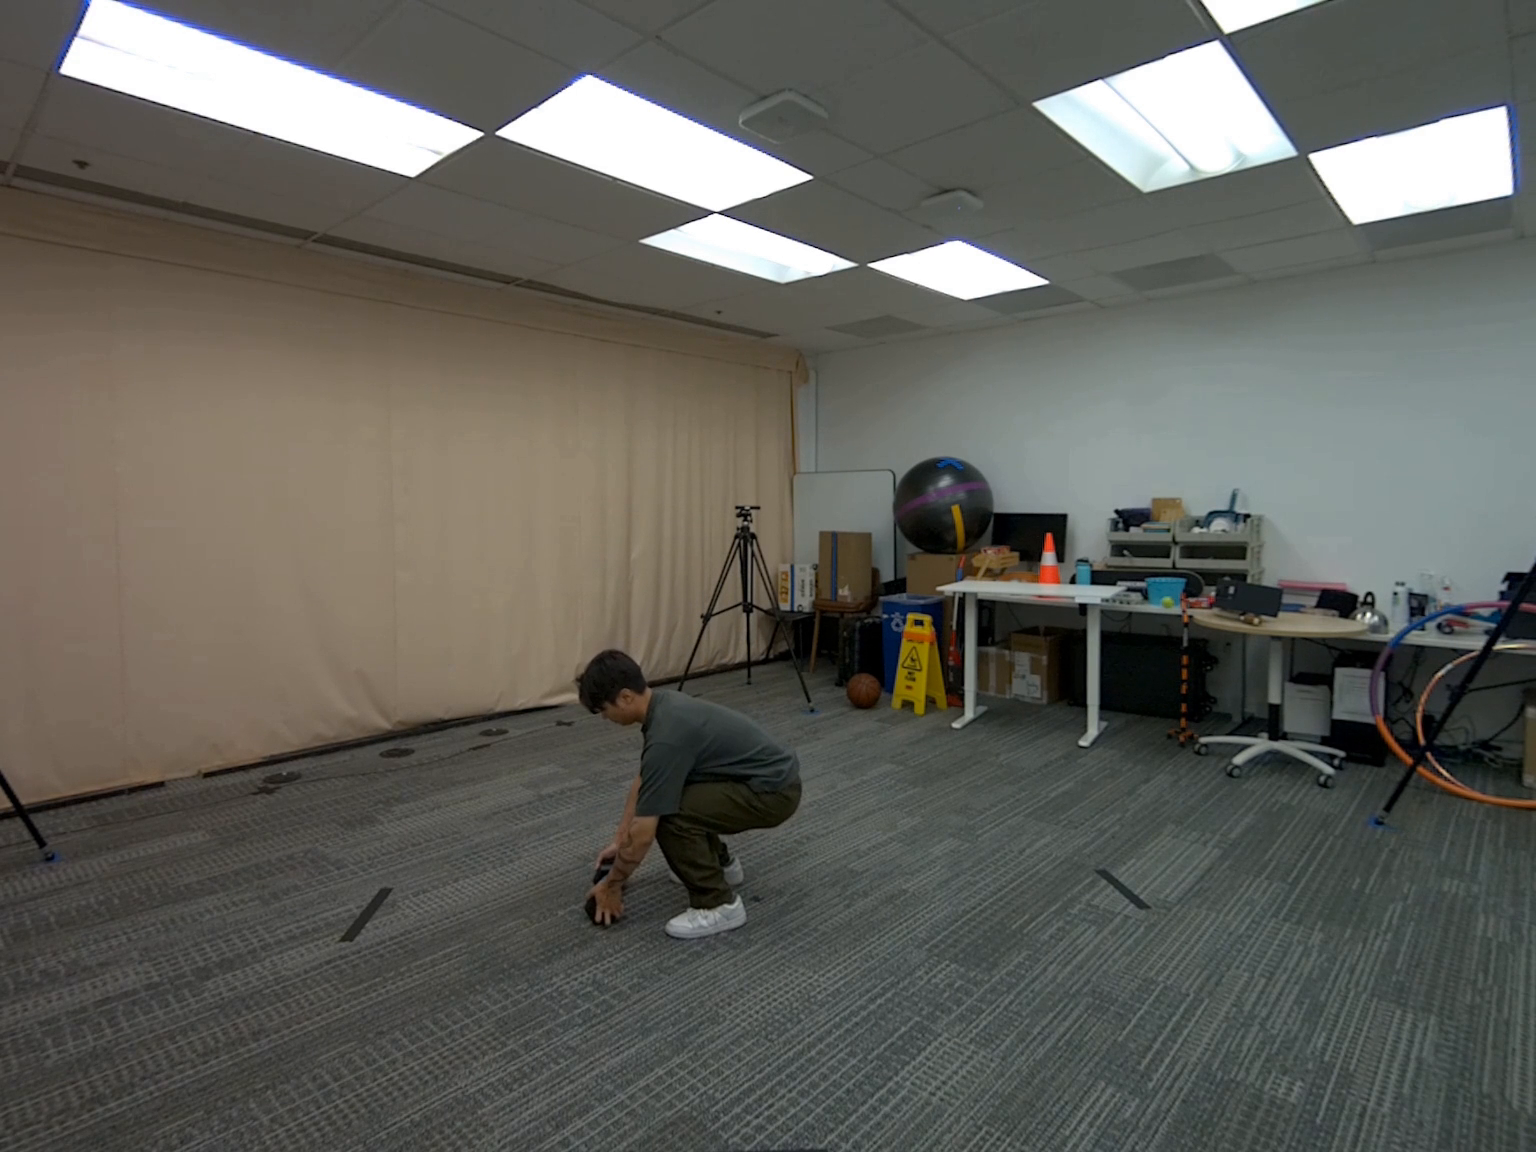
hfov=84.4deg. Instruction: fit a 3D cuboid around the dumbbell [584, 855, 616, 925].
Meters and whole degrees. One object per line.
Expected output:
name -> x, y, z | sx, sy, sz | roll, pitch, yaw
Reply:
dumbbell -> -0.559, 1.110, 2.948 | 0.108, 0.123, 0.295 | 29, 1, -6
